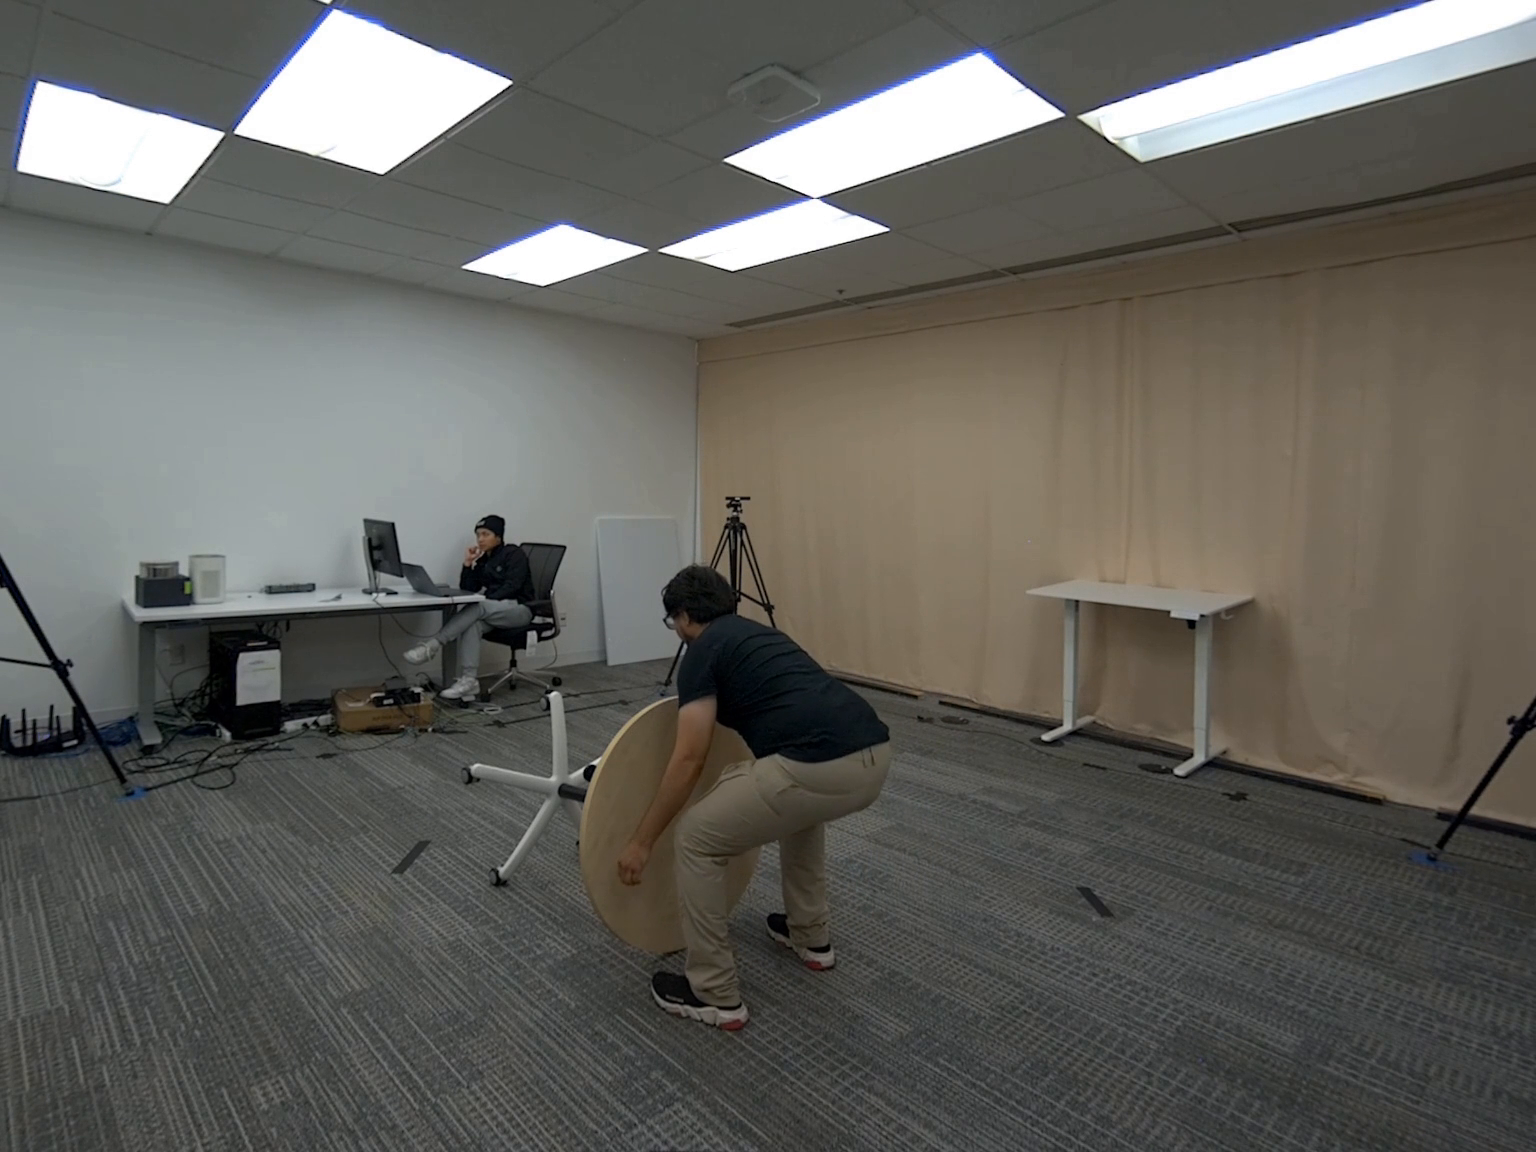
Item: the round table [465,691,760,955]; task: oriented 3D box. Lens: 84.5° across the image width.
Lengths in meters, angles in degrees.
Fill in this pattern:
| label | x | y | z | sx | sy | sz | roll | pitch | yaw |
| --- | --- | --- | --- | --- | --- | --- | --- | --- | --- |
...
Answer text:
| label | x | y | z | sx | sy | sz | roll | pitch | yaw |
| --- | --- | --- | --- | --- | --- | --- | --- | --- | --- |
| round table | -0.556 | 0.782 | 2.905 | 0.804 | 0.786 | 0.767 | -4 | -1 | 43 |
